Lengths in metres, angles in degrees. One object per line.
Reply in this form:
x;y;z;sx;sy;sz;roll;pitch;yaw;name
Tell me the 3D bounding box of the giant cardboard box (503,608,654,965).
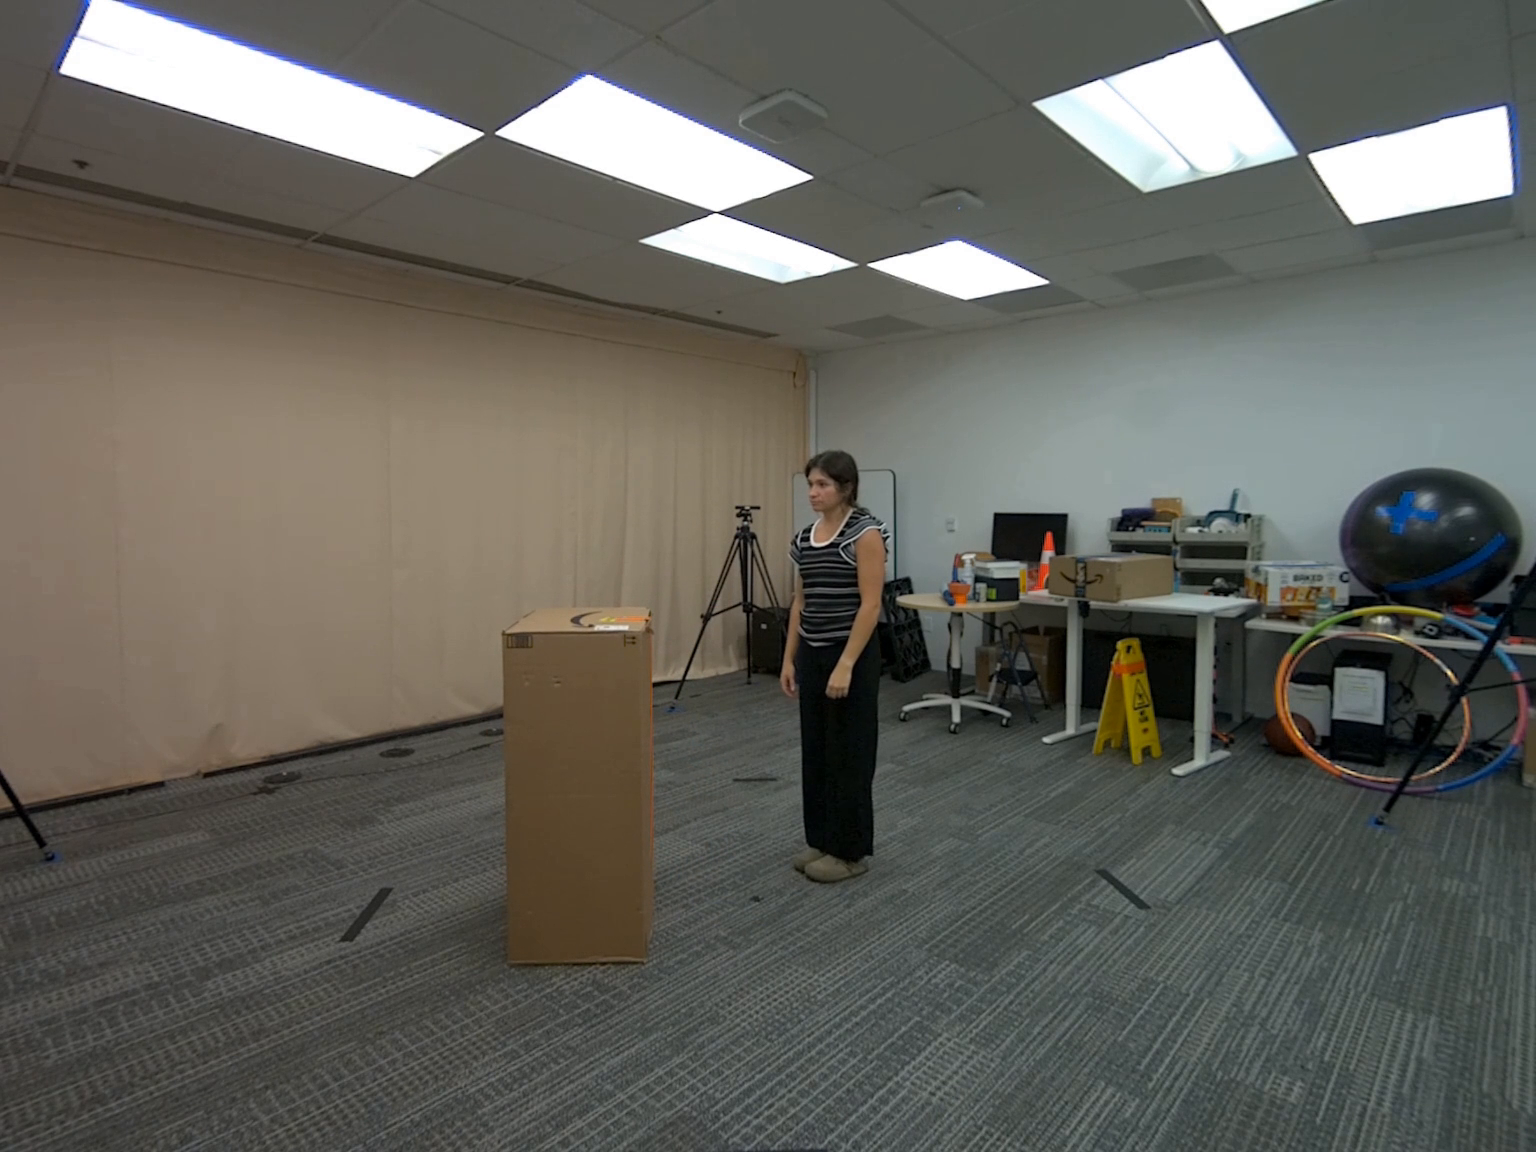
-0.609;0.654;2.817;0.425;1.024;0.581;-1;3;-4;giant cardboard box
